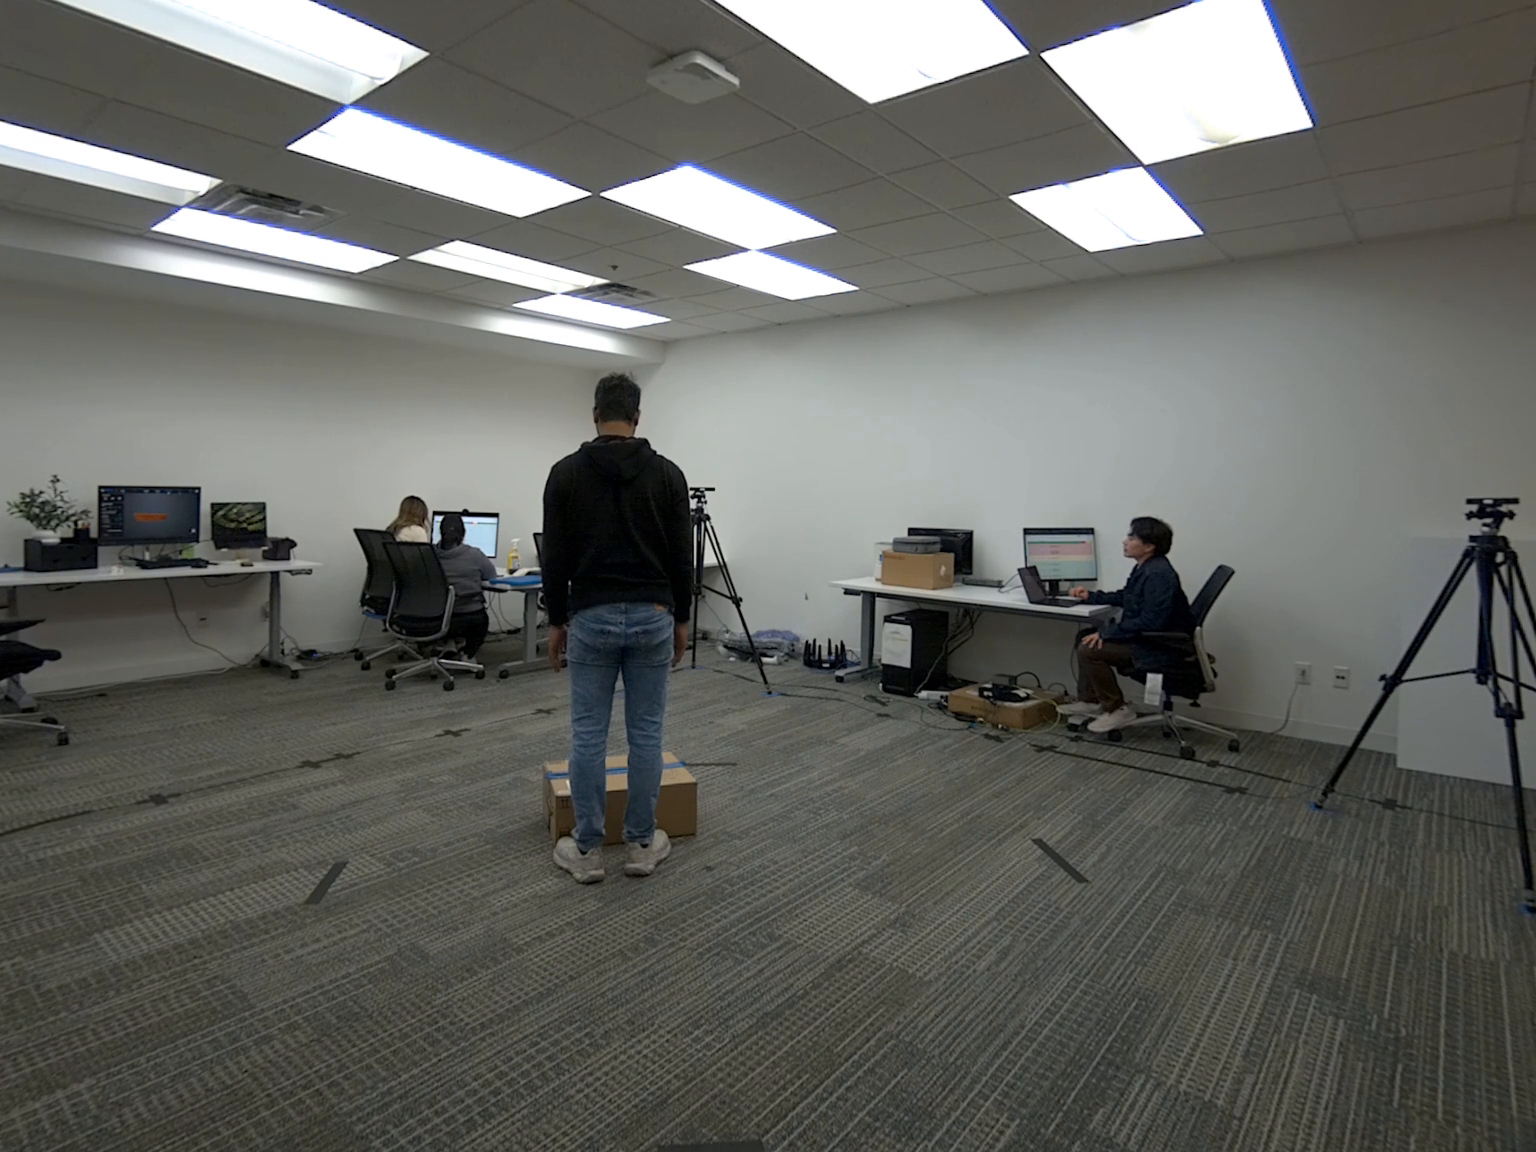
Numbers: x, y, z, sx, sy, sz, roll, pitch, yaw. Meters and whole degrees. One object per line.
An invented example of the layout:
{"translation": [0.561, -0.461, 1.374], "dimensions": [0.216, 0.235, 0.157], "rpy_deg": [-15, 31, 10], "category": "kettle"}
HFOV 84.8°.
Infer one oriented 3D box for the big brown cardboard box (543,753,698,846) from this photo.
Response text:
{"translation": [-0.636, 0.909, 3.510], "dimensions": [0.577, 0.232, 0.428], "rpy_deg": [0, 5, -21], "category": "big brown cardboard box"}
